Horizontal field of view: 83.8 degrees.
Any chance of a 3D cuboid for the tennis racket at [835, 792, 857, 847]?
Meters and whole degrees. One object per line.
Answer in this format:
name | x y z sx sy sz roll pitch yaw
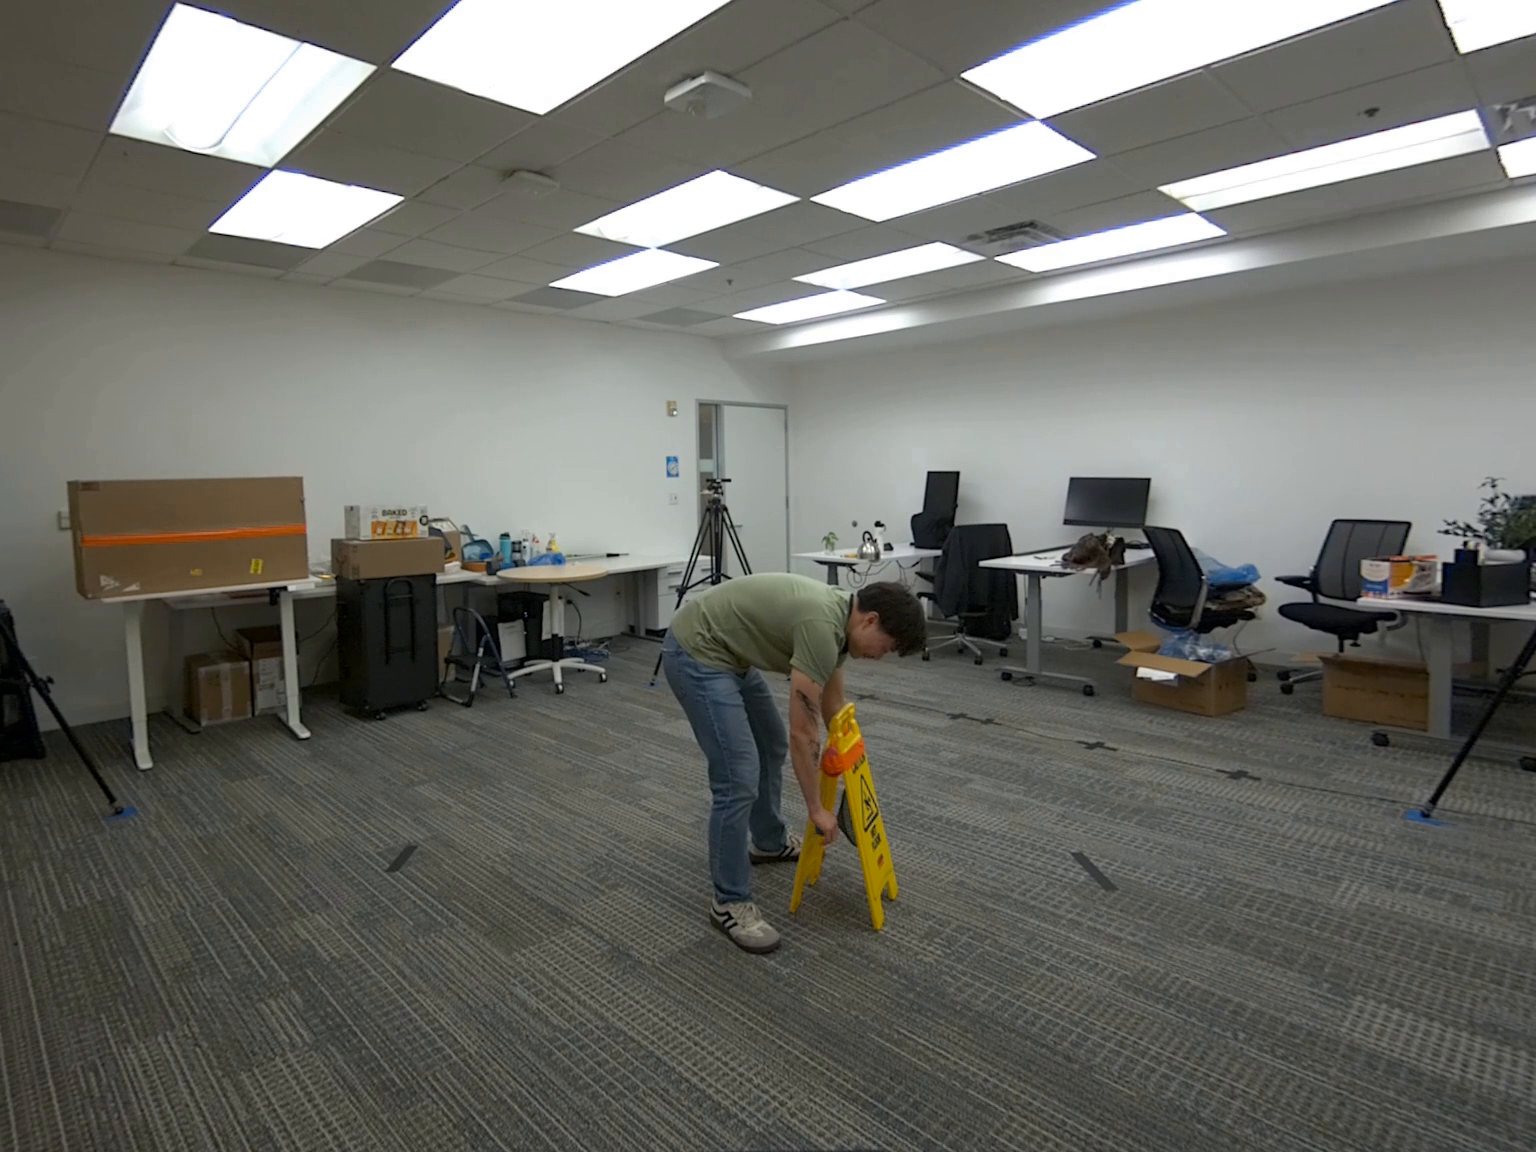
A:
tennis racket | 0.254 0.792 2.806 0.032 0.216 0.420 -8 -13 22
